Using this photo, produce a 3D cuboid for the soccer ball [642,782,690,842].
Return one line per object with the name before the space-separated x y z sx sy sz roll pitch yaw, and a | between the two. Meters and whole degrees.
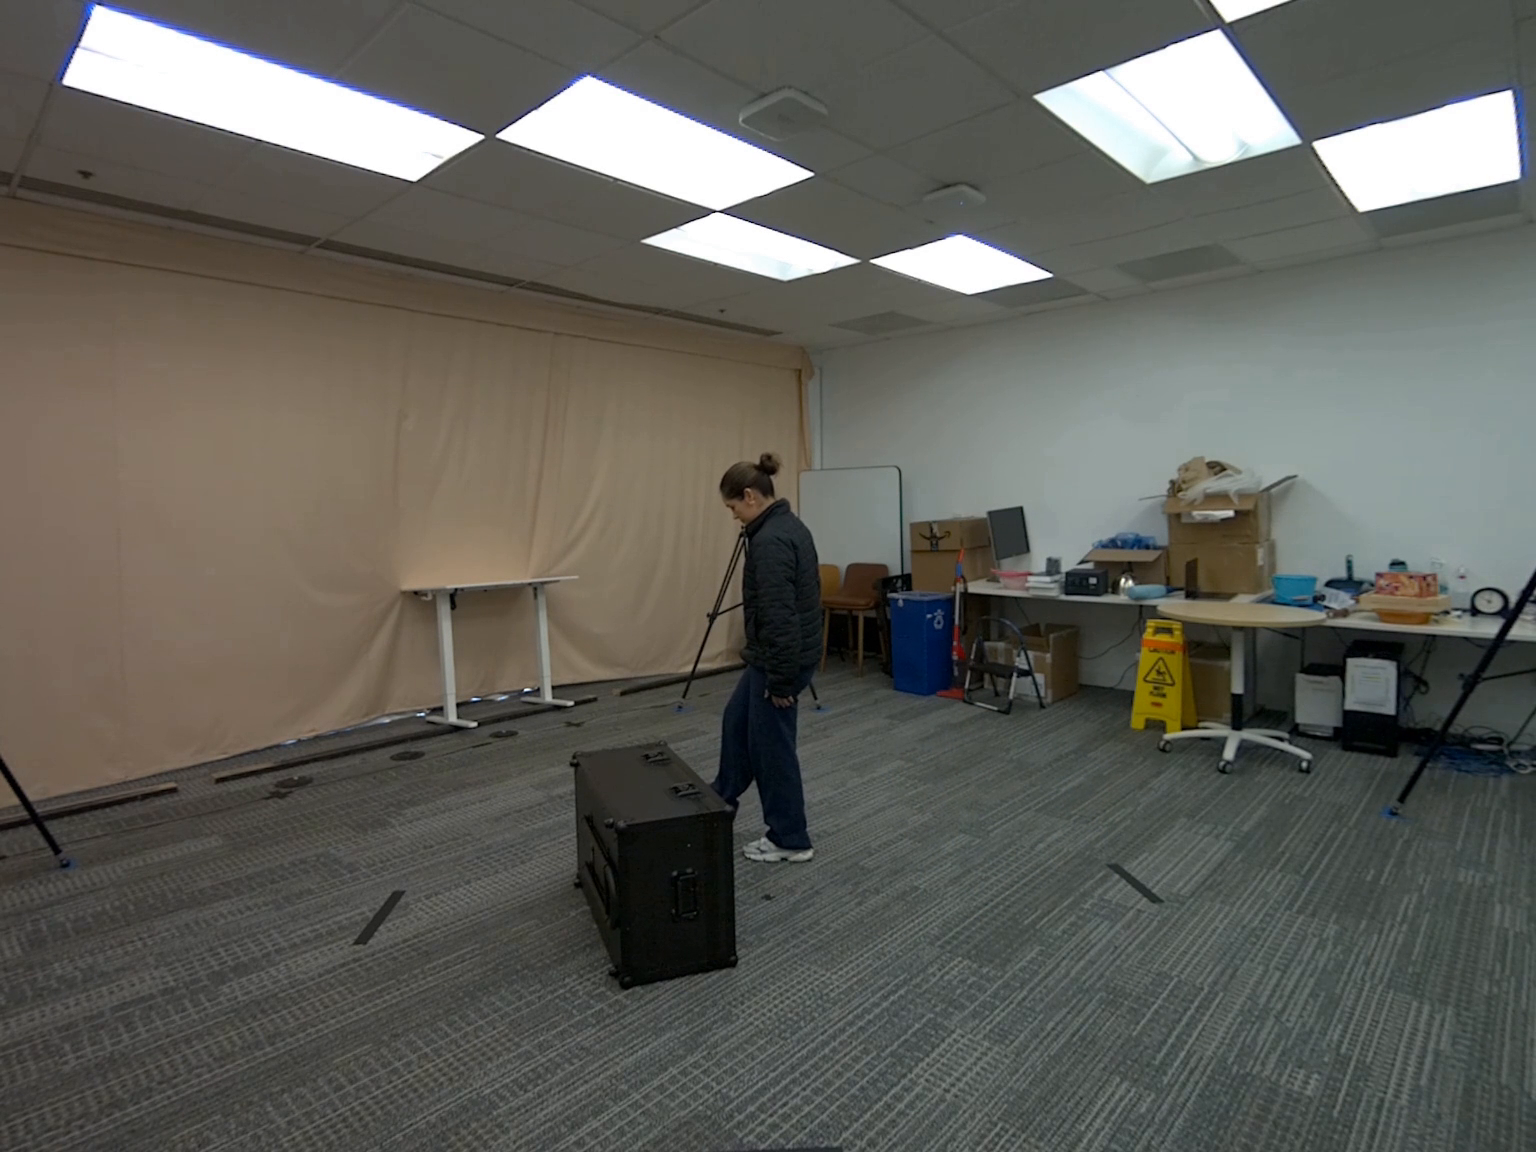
soccer ball | -0.437 1.003 3.621 0.187 0.187 0.188 -1 4 -2
